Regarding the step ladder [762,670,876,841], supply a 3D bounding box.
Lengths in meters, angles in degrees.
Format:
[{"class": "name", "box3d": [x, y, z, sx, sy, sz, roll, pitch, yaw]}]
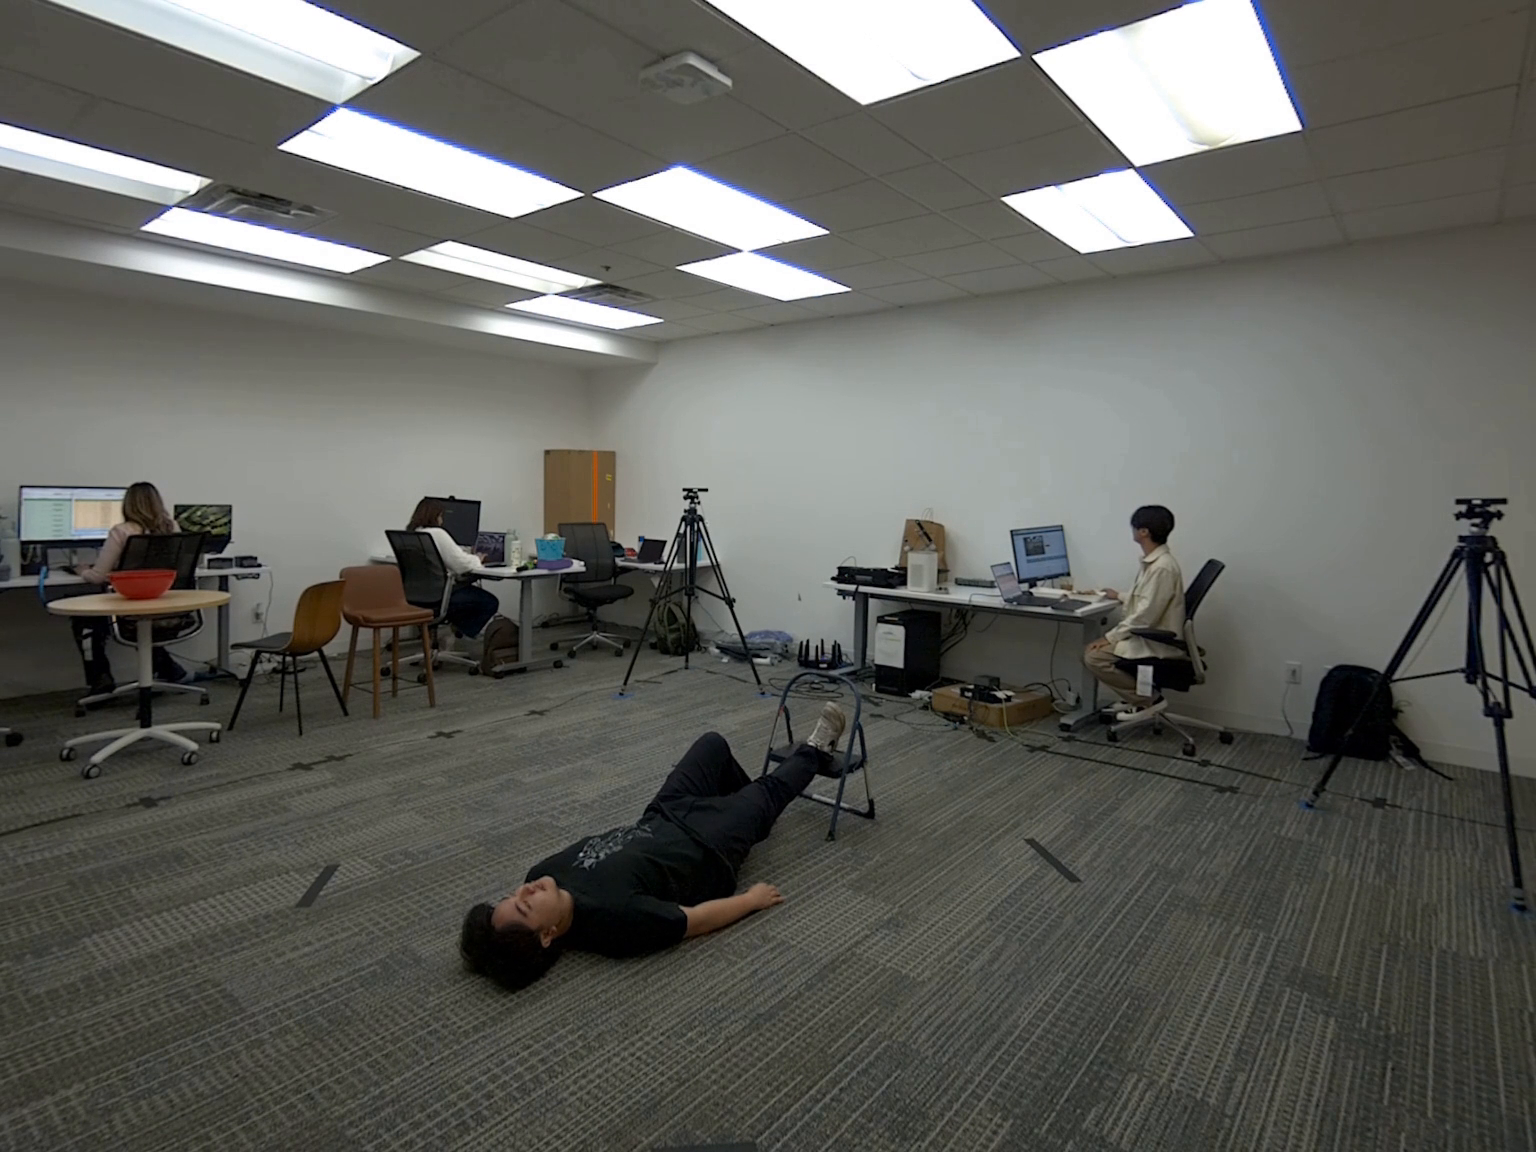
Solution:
[{"class": "step ladder", "box3d": [0.195, 0.728, 3.640, 0.445, 0.604, 0.339, 5, 5, 40]}]
